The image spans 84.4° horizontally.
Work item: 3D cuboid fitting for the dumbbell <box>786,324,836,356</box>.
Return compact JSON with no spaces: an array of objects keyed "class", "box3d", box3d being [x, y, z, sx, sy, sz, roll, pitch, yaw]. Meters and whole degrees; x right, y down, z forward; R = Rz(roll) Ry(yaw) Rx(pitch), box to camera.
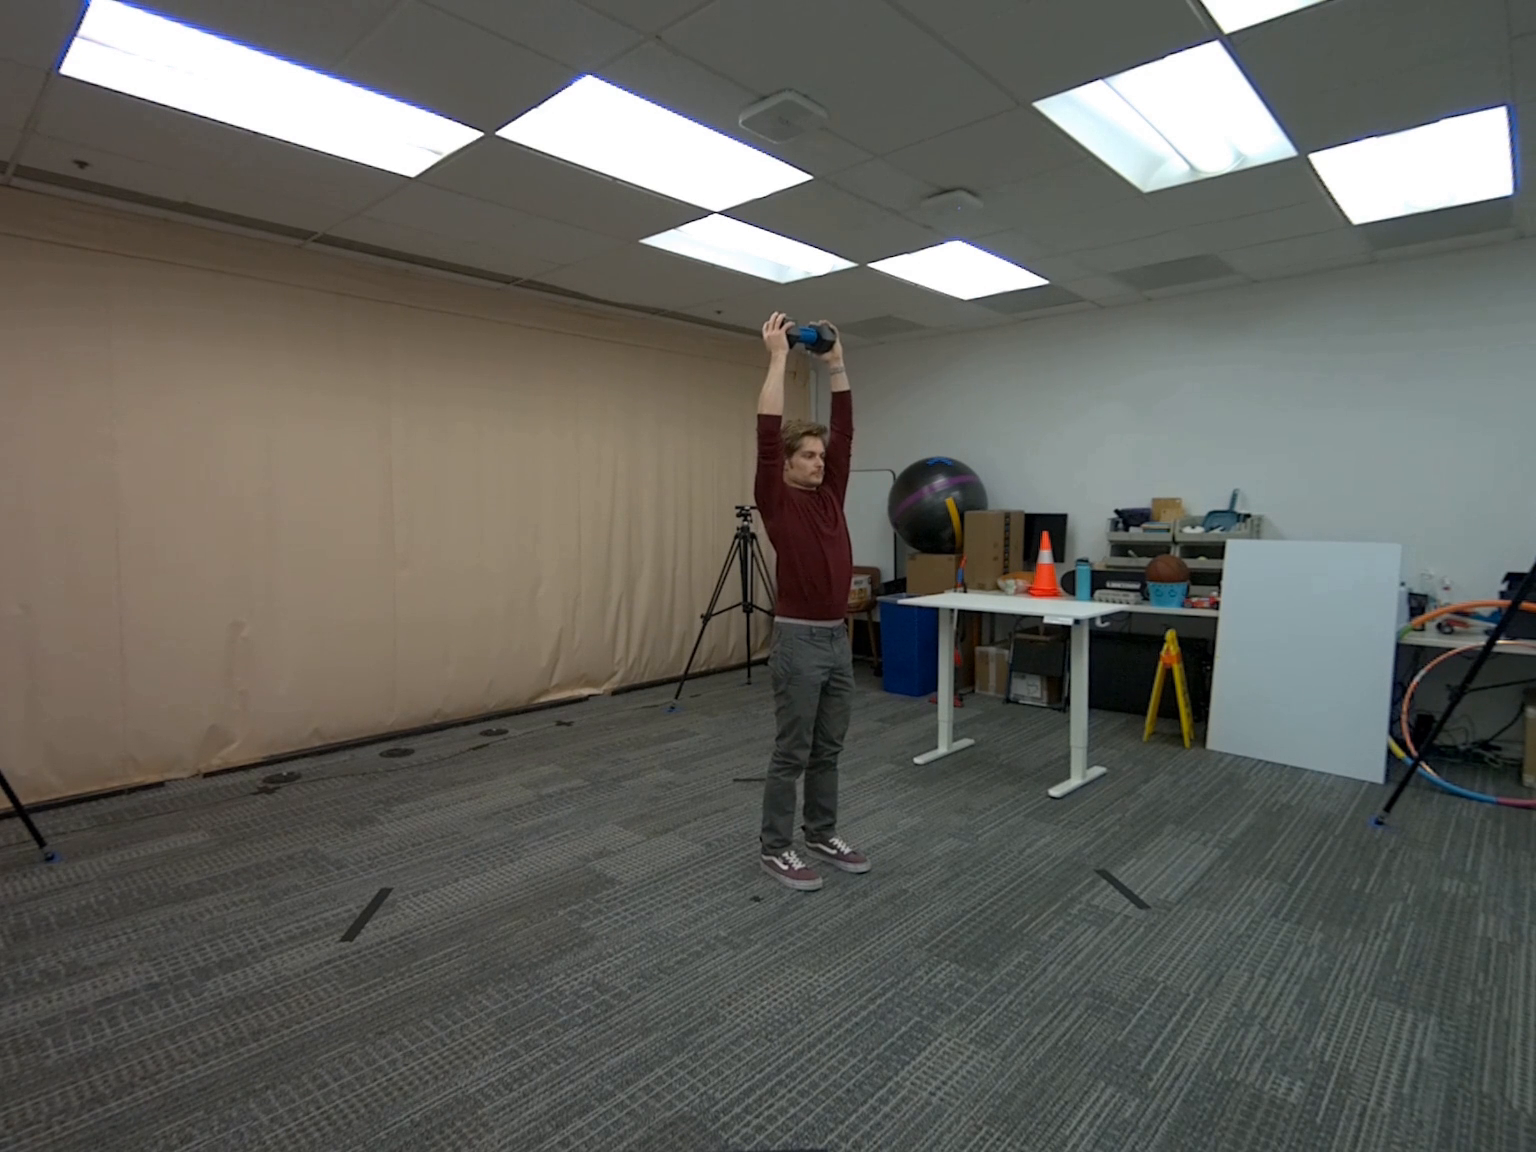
[{"class":"dumbbell","box3d":[0.134,-0.894,3.134,0.285,0.123,0.111,-10,-4,-44]}]
